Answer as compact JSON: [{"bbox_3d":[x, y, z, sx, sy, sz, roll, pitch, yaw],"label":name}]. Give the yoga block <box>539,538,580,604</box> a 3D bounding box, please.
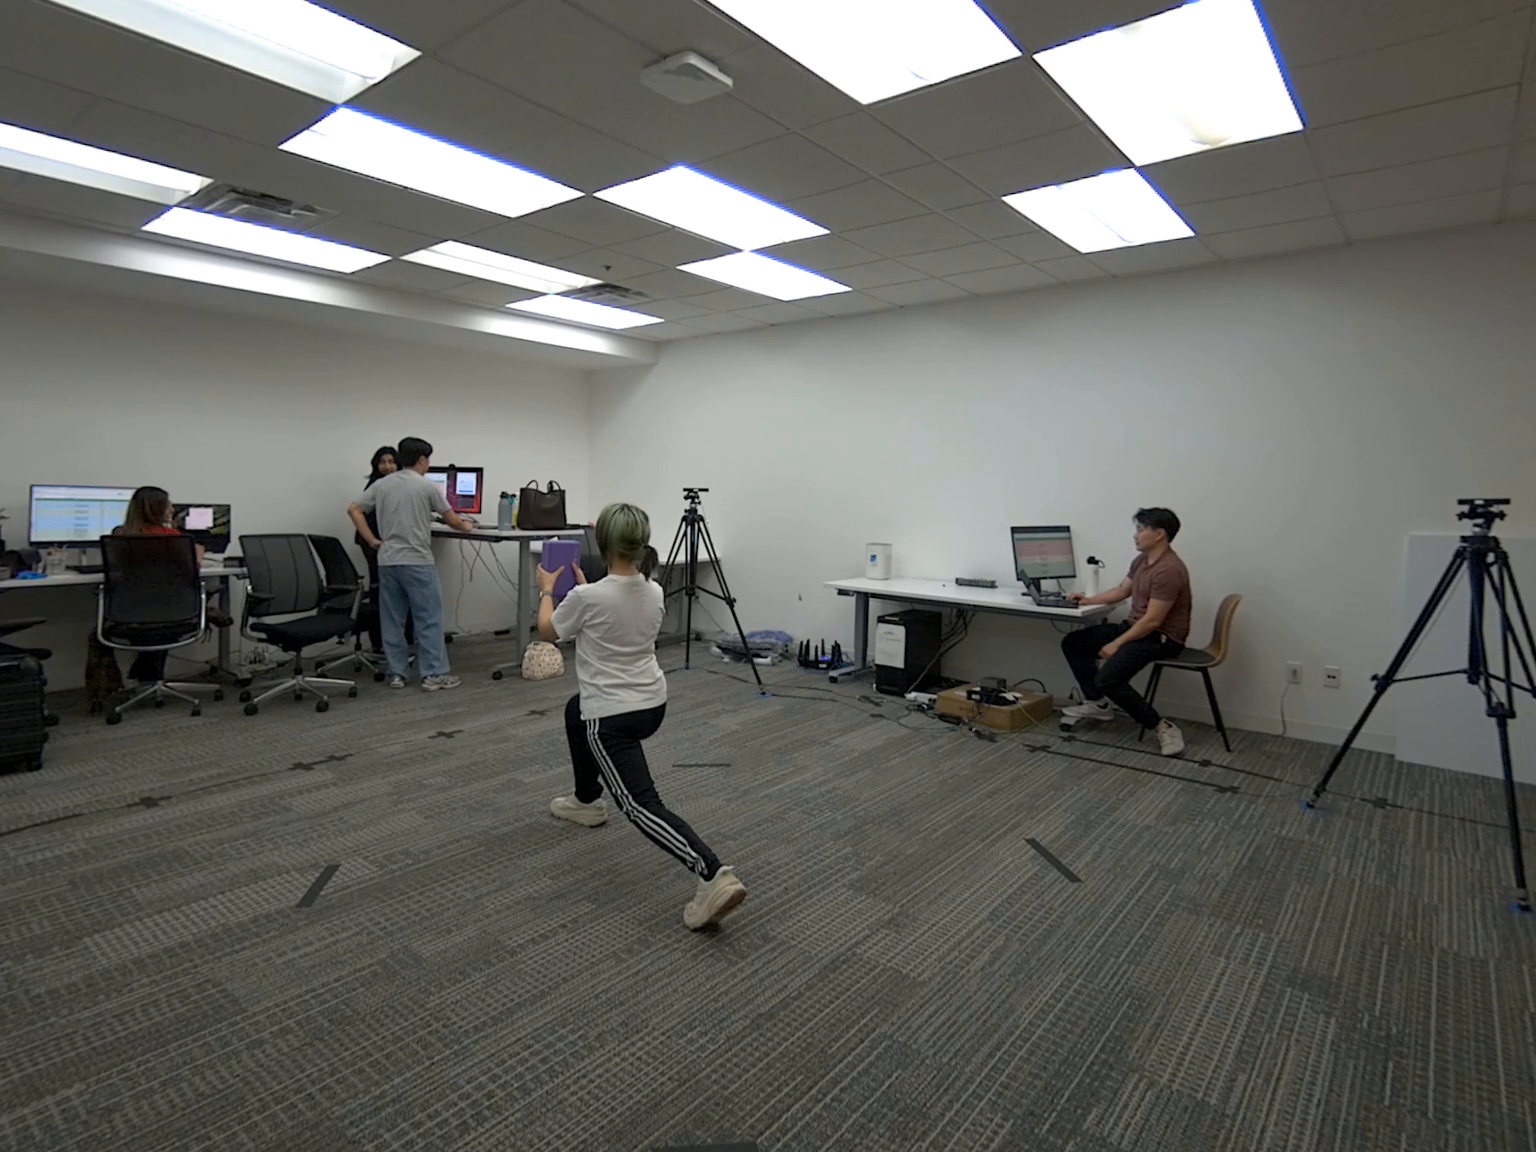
[{"bbox_3d":[-0.888,-0.036,3.575,0.144,0.229,0.079,2,3,-38],"label":"yoga block"}]
